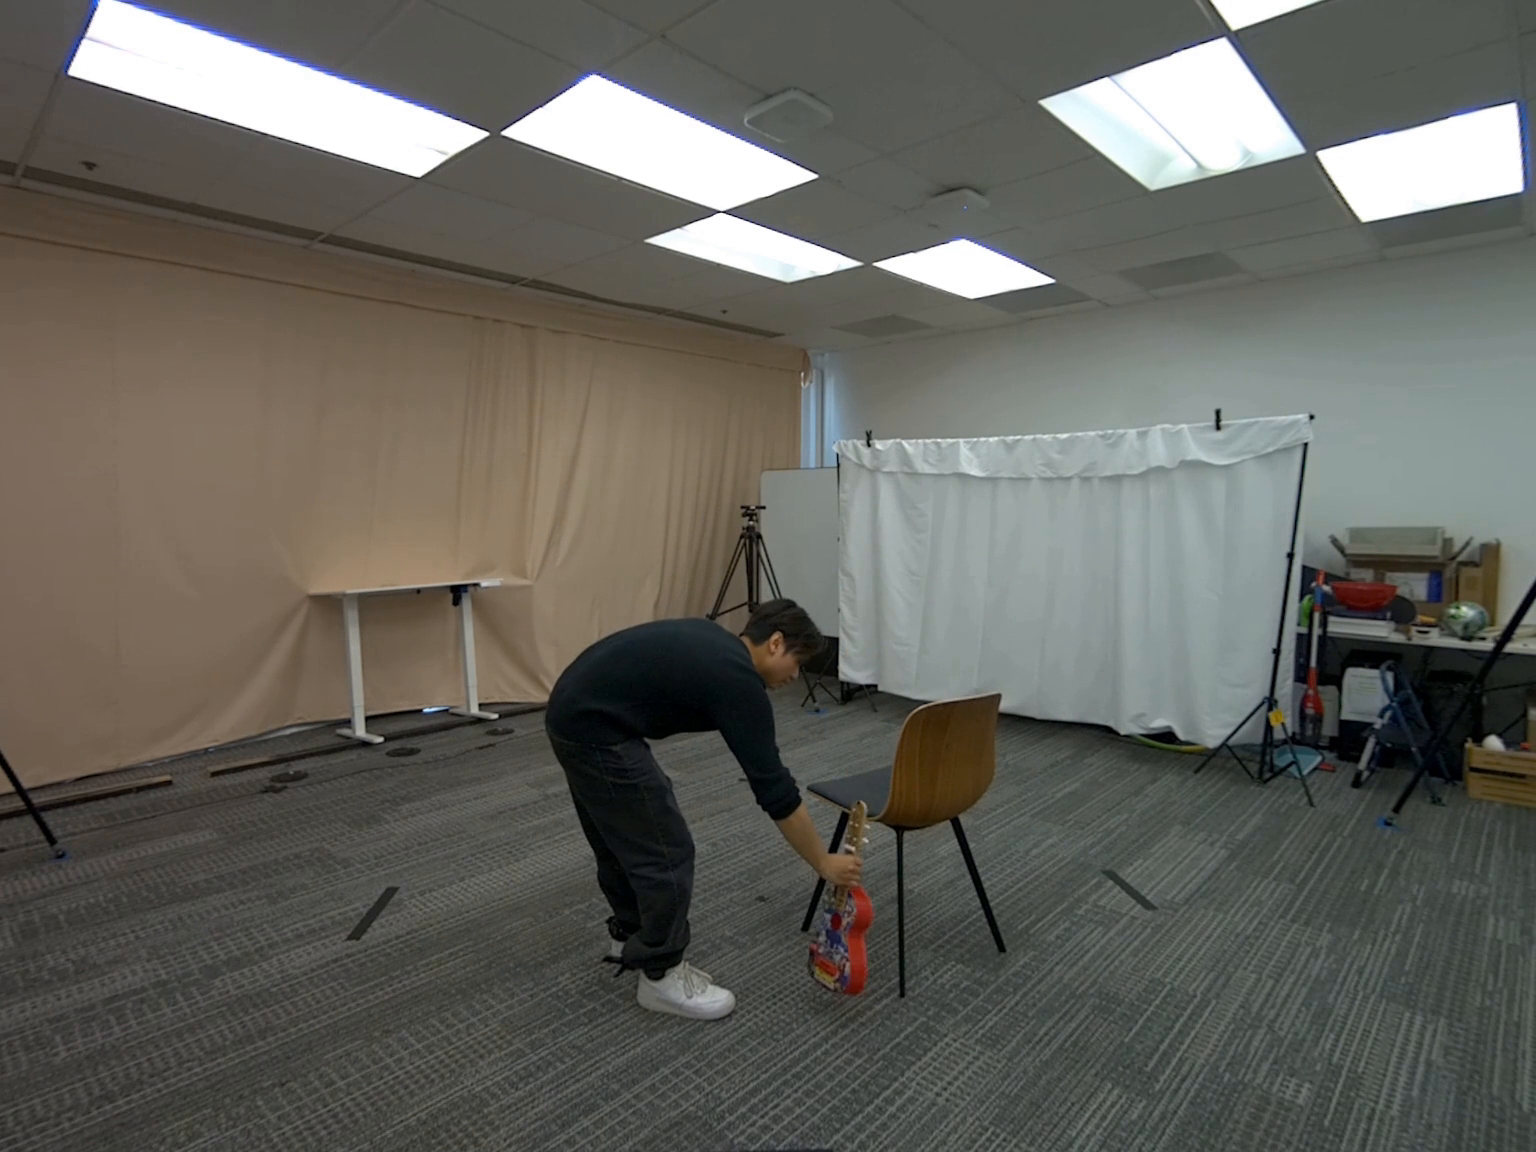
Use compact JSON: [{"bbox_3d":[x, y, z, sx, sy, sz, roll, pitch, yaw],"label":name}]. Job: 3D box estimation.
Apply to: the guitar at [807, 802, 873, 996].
[{"bbox_3d":[0.242,0.889,2.305,0.069,0.497,0.198,16,1,-26],"label":"guitar"}]
